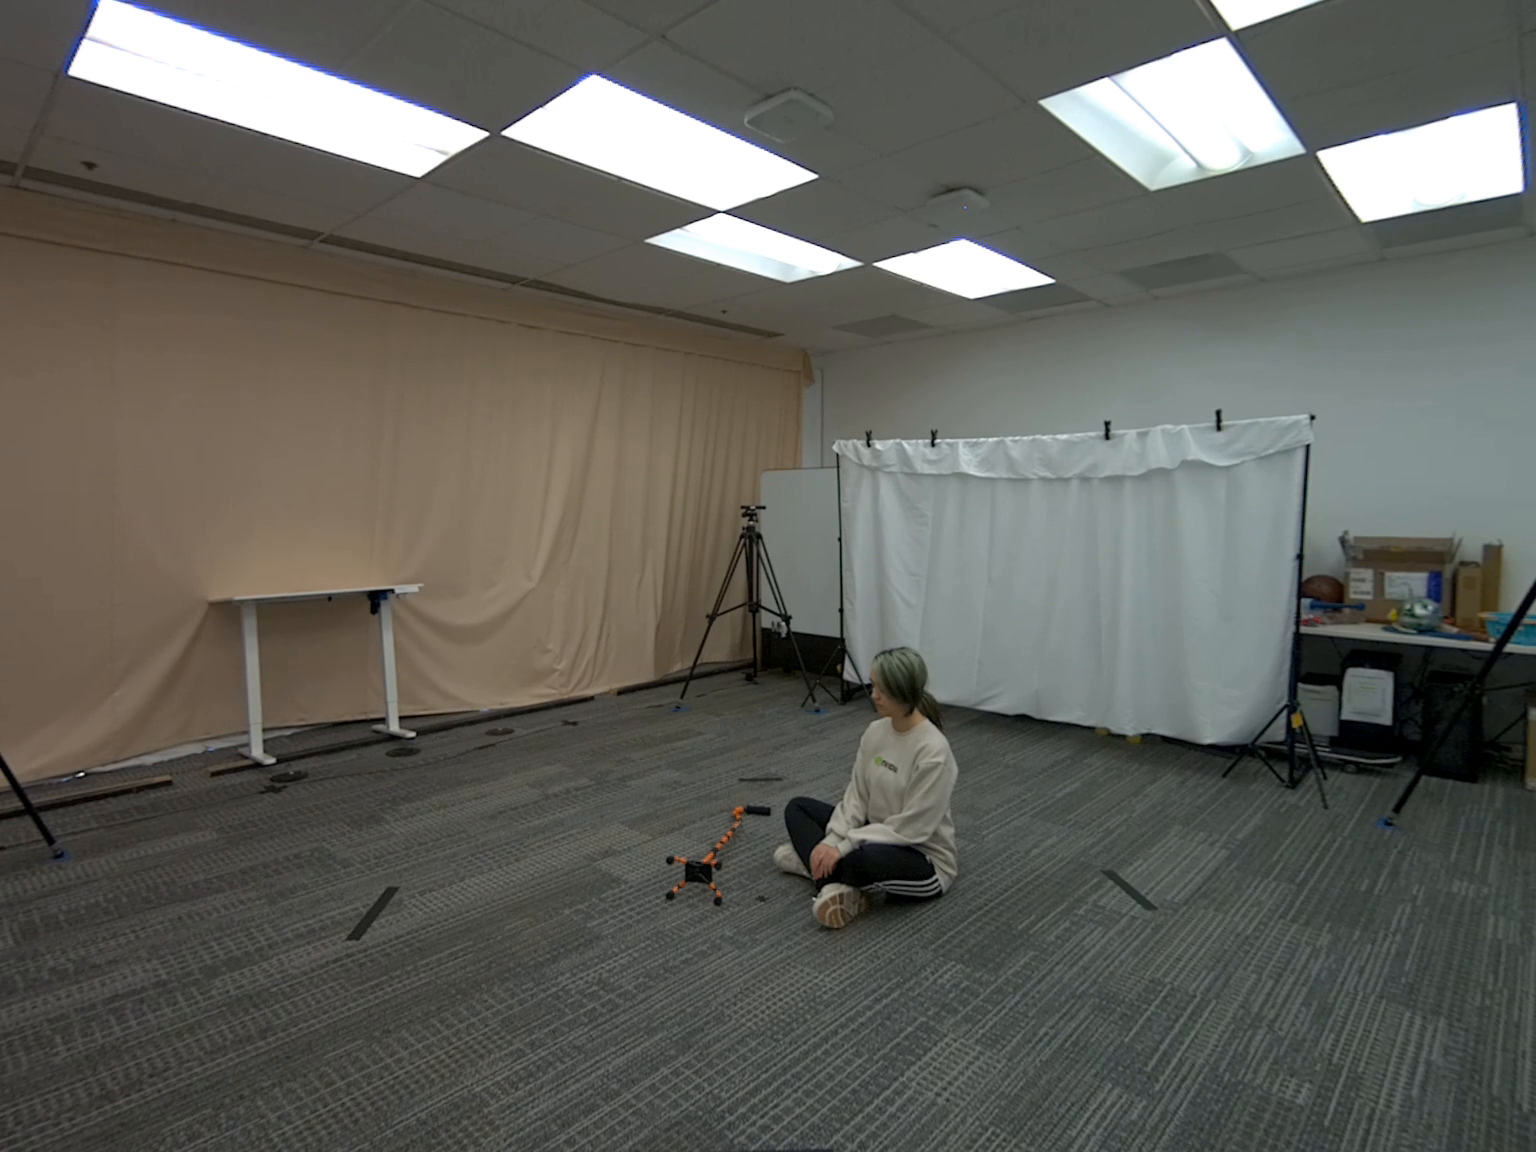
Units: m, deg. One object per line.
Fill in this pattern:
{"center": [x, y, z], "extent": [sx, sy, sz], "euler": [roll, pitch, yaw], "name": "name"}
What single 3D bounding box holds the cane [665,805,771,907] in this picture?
{"center": [-0.173, 1.064, 3.392], "extent": [0.209, 0.152, 0.894], "euler": [-1, 0, 12], "name": "cane"}
